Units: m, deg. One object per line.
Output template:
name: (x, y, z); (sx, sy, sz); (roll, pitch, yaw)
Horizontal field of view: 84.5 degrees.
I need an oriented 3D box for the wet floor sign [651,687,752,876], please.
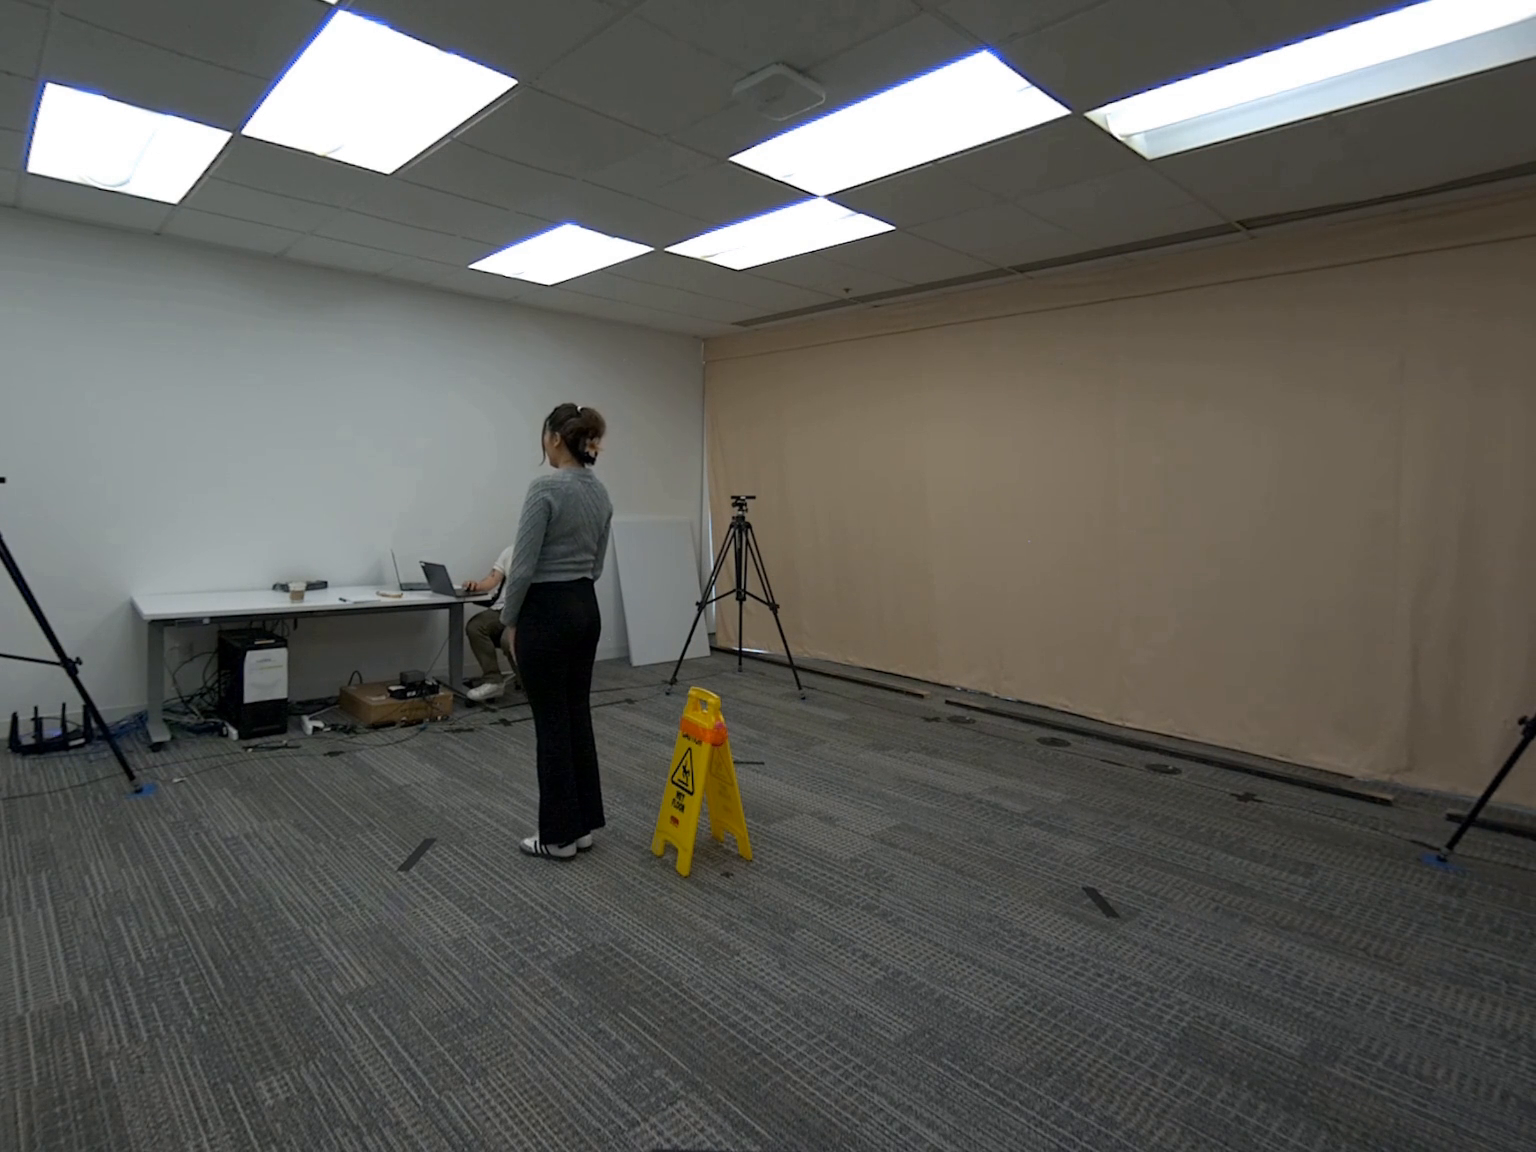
wet floor sign: (-0.258, 0.764, 3.249); (0.283, 0.644, 0.289); (-1, 4, -35)
